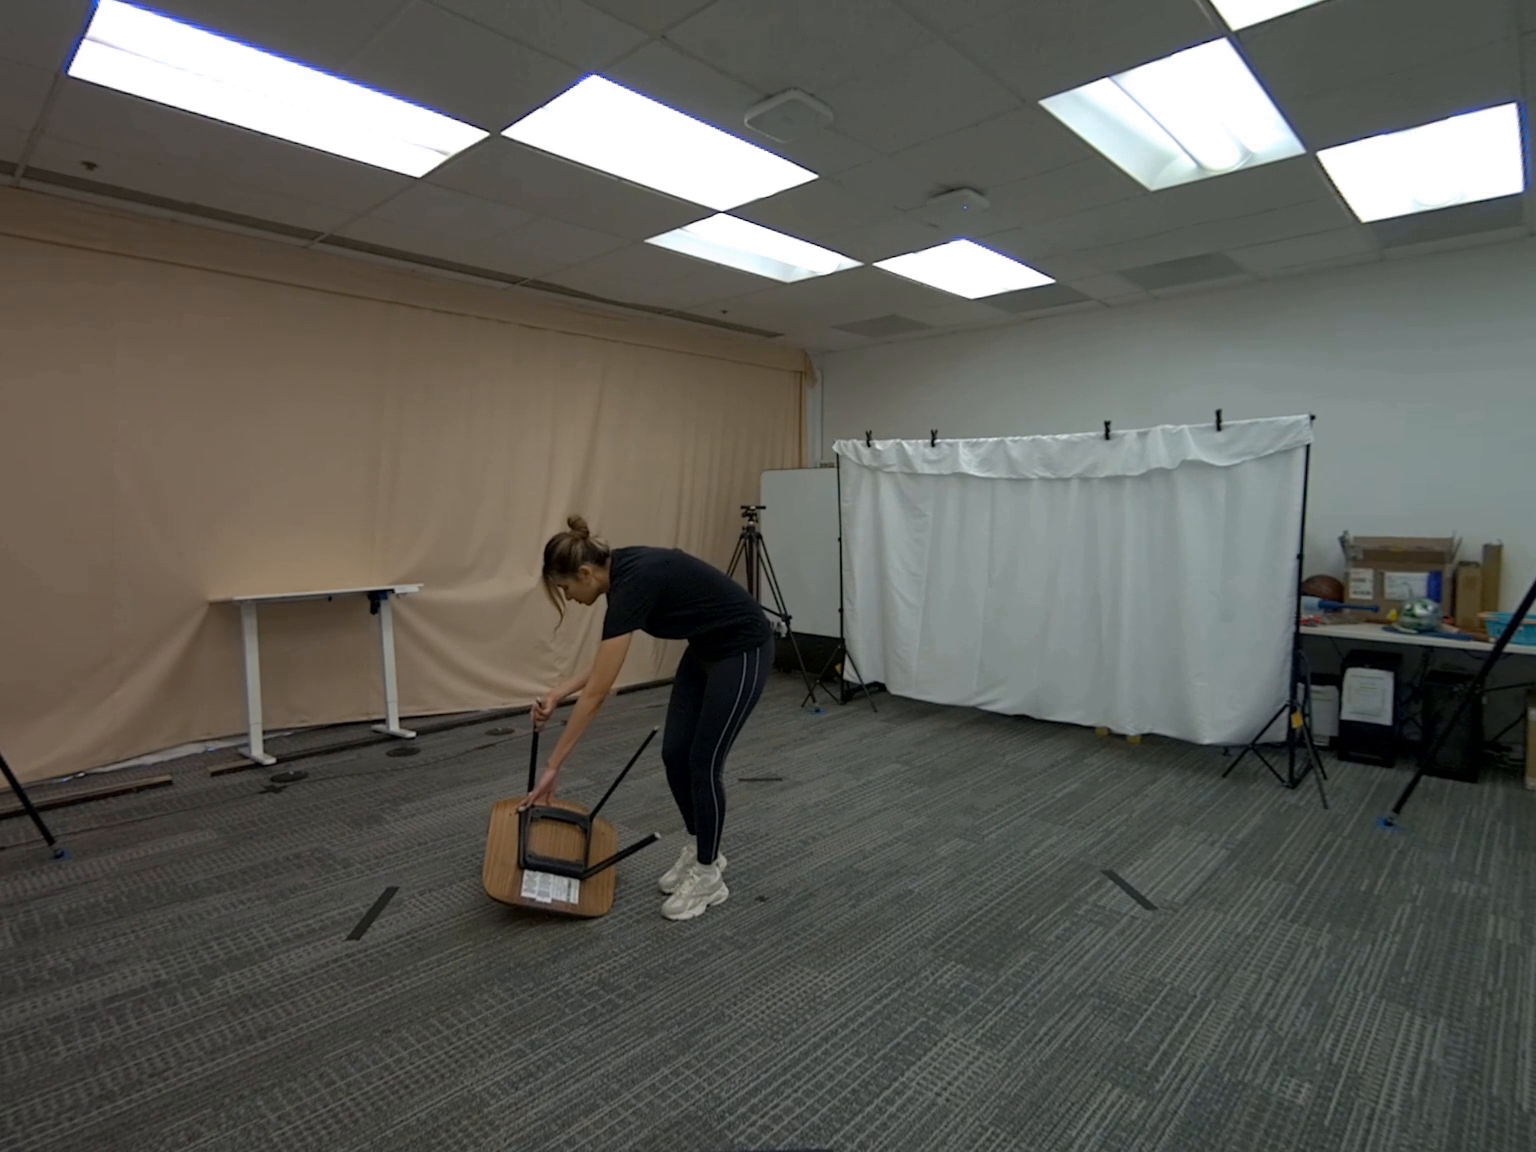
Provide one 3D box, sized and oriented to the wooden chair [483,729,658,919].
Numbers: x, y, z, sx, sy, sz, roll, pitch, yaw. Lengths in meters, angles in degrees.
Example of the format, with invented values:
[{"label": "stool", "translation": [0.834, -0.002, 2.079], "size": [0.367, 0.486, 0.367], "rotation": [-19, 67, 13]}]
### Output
[{"label": "wooden chair", "translation": [-0.746, 0.937, 2.977], "size": [0.468, 0.877, 0.534], "rotation": [17, 38, -19]}]
